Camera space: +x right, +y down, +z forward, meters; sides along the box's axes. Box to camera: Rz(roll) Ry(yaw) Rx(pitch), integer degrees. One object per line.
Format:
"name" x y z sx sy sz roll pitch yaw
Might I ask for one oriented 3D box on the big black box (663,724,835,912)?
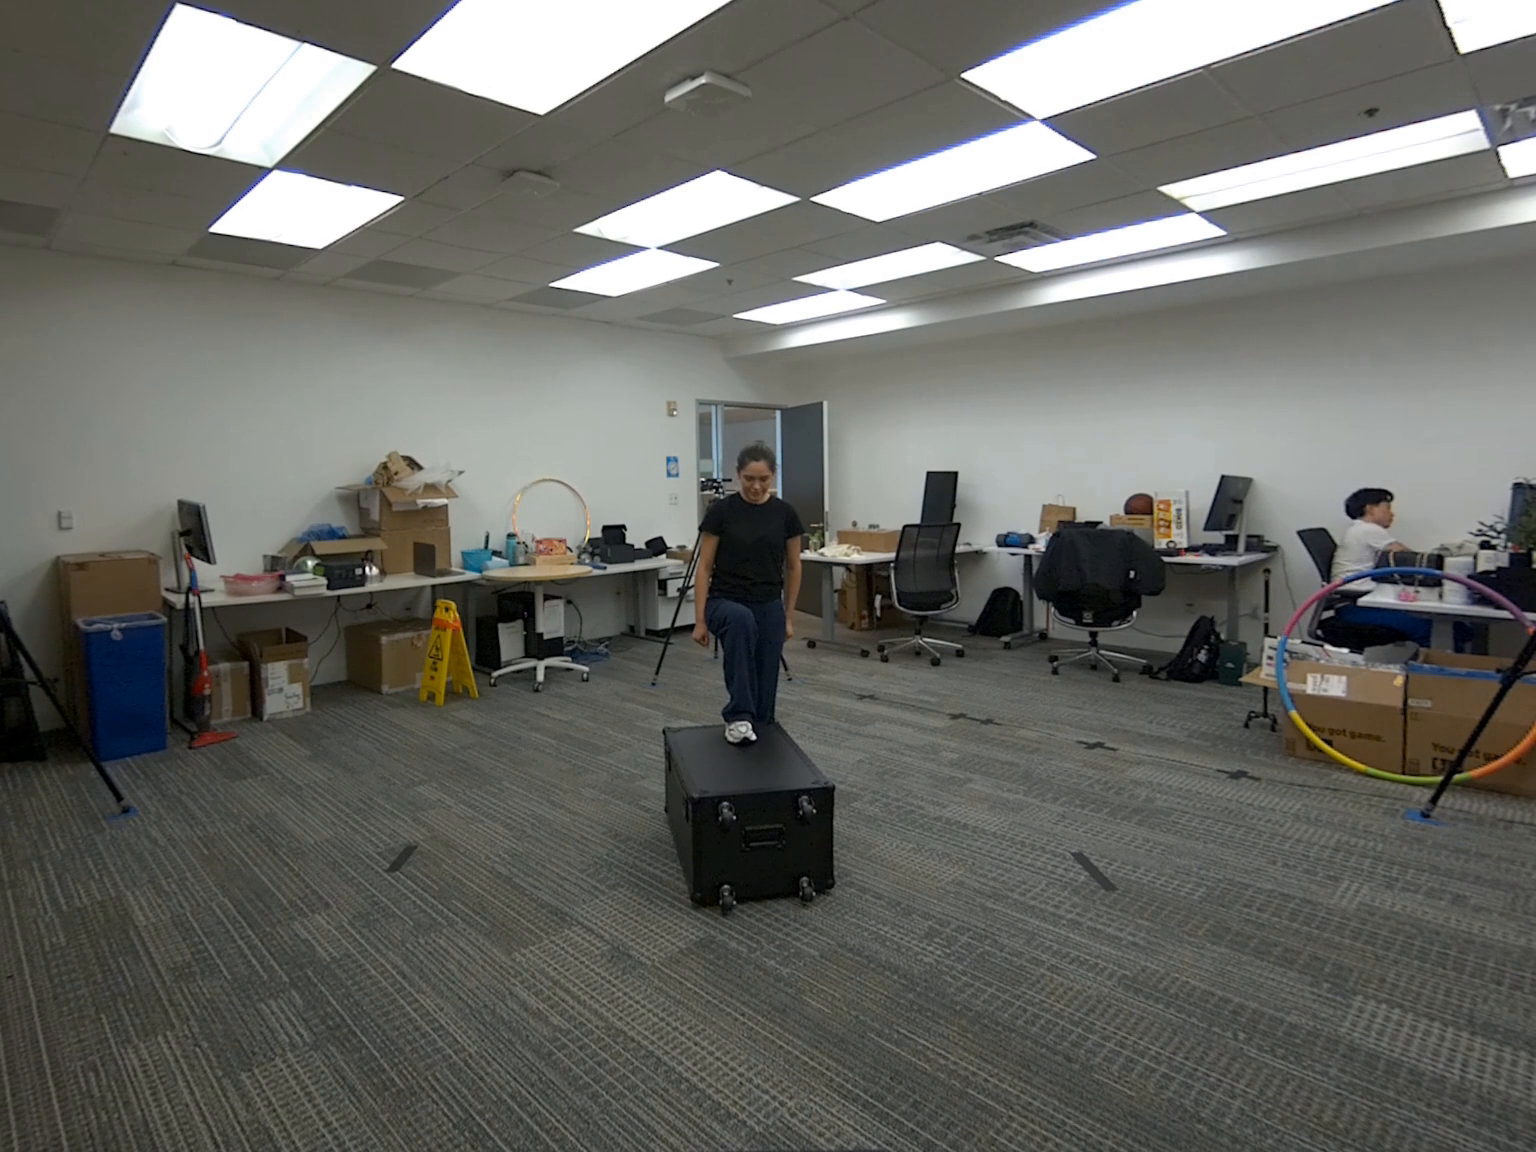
"big black box" -0.098 0.843 3.164 0.515 0.394 0.875 -3 6 -13
